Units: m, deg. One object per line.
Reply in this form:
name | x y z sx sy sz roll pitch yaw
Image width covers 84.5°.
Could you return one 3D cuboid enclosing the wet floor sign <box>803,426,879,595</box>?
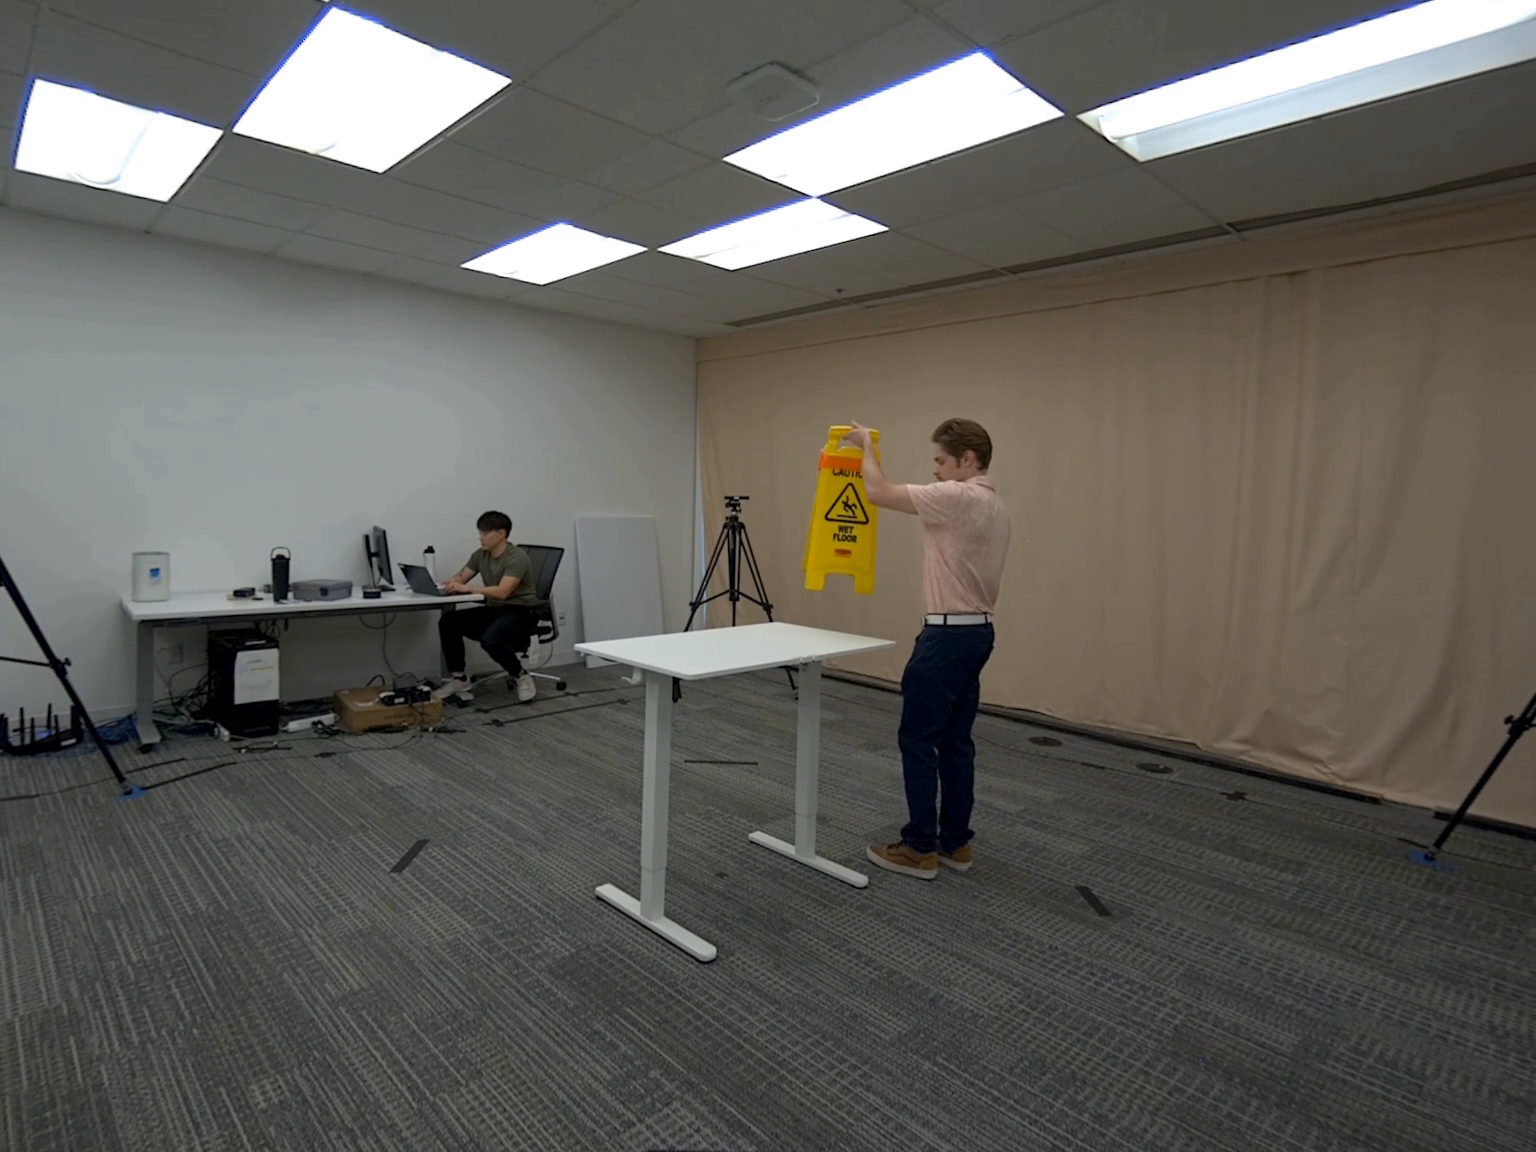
wet floor sign | 0.315 -0.267 3.427 0.283 0.640 0.291 3 14 4
